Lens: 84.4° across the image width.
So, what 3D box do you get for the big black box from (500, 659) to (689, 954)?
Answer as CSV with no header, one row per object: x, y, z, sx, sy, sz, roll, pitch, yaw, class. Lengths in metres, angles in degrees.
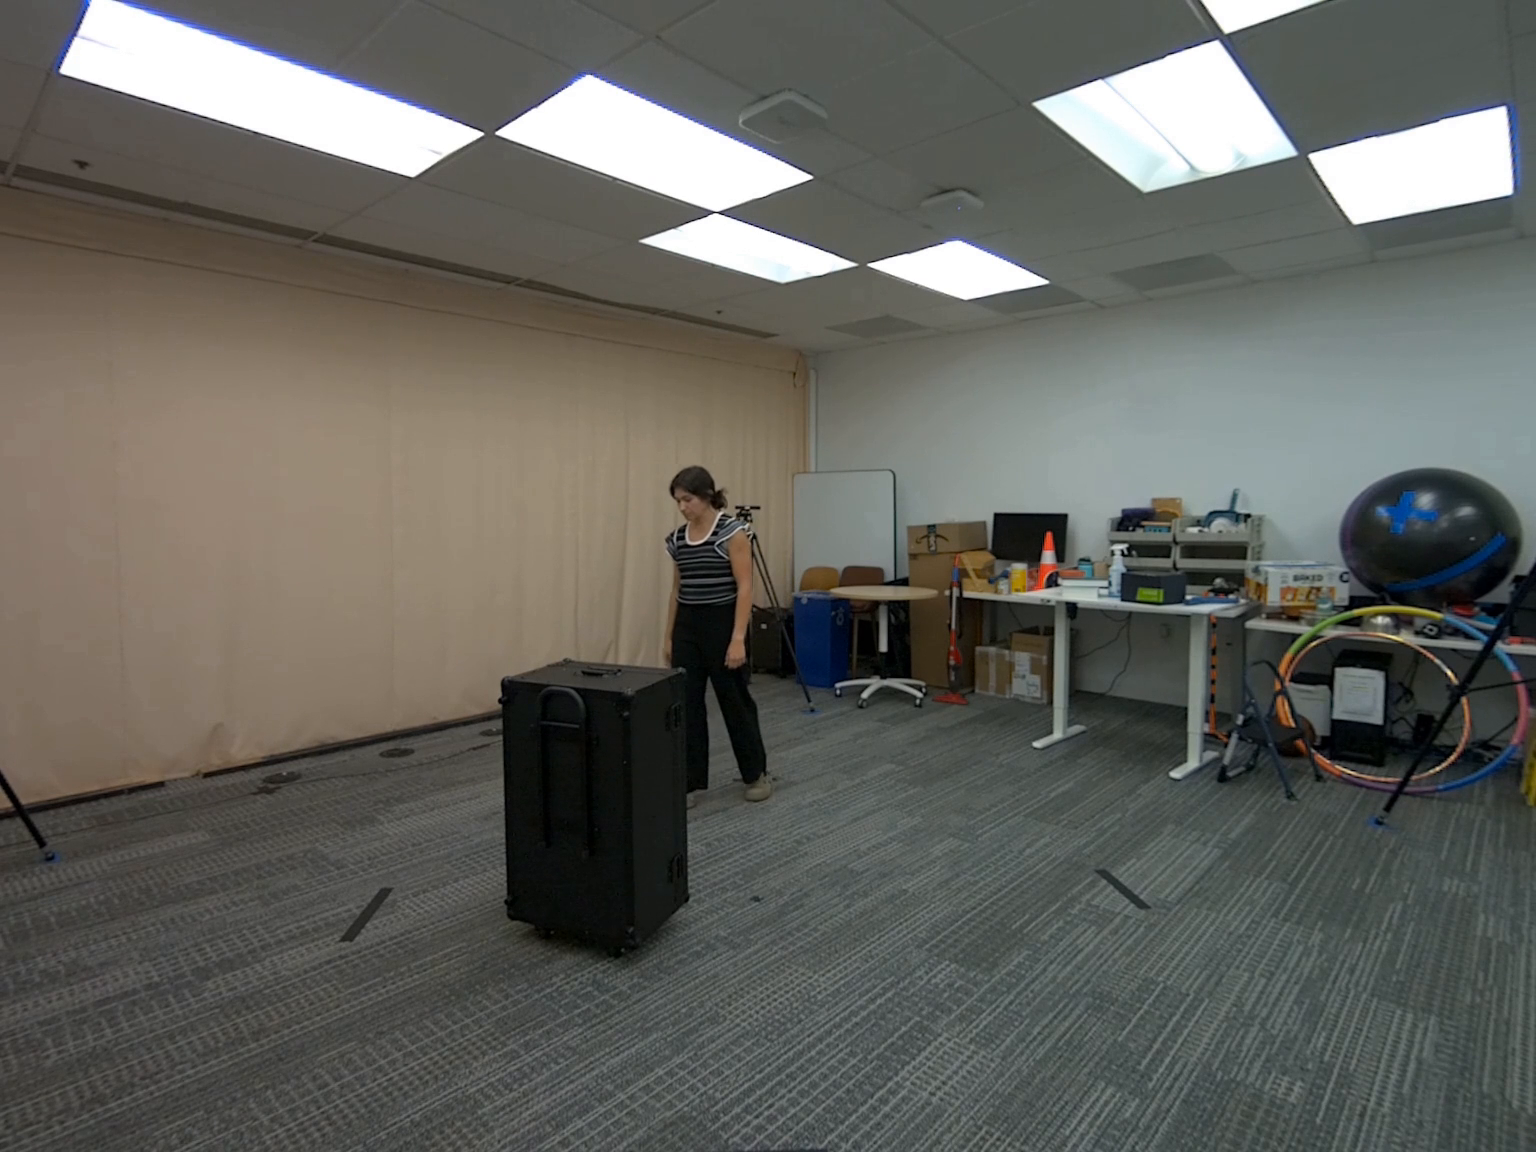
-0.554,0.743,2.739,0.534,0.859,0.387,1,4,24,big black box
